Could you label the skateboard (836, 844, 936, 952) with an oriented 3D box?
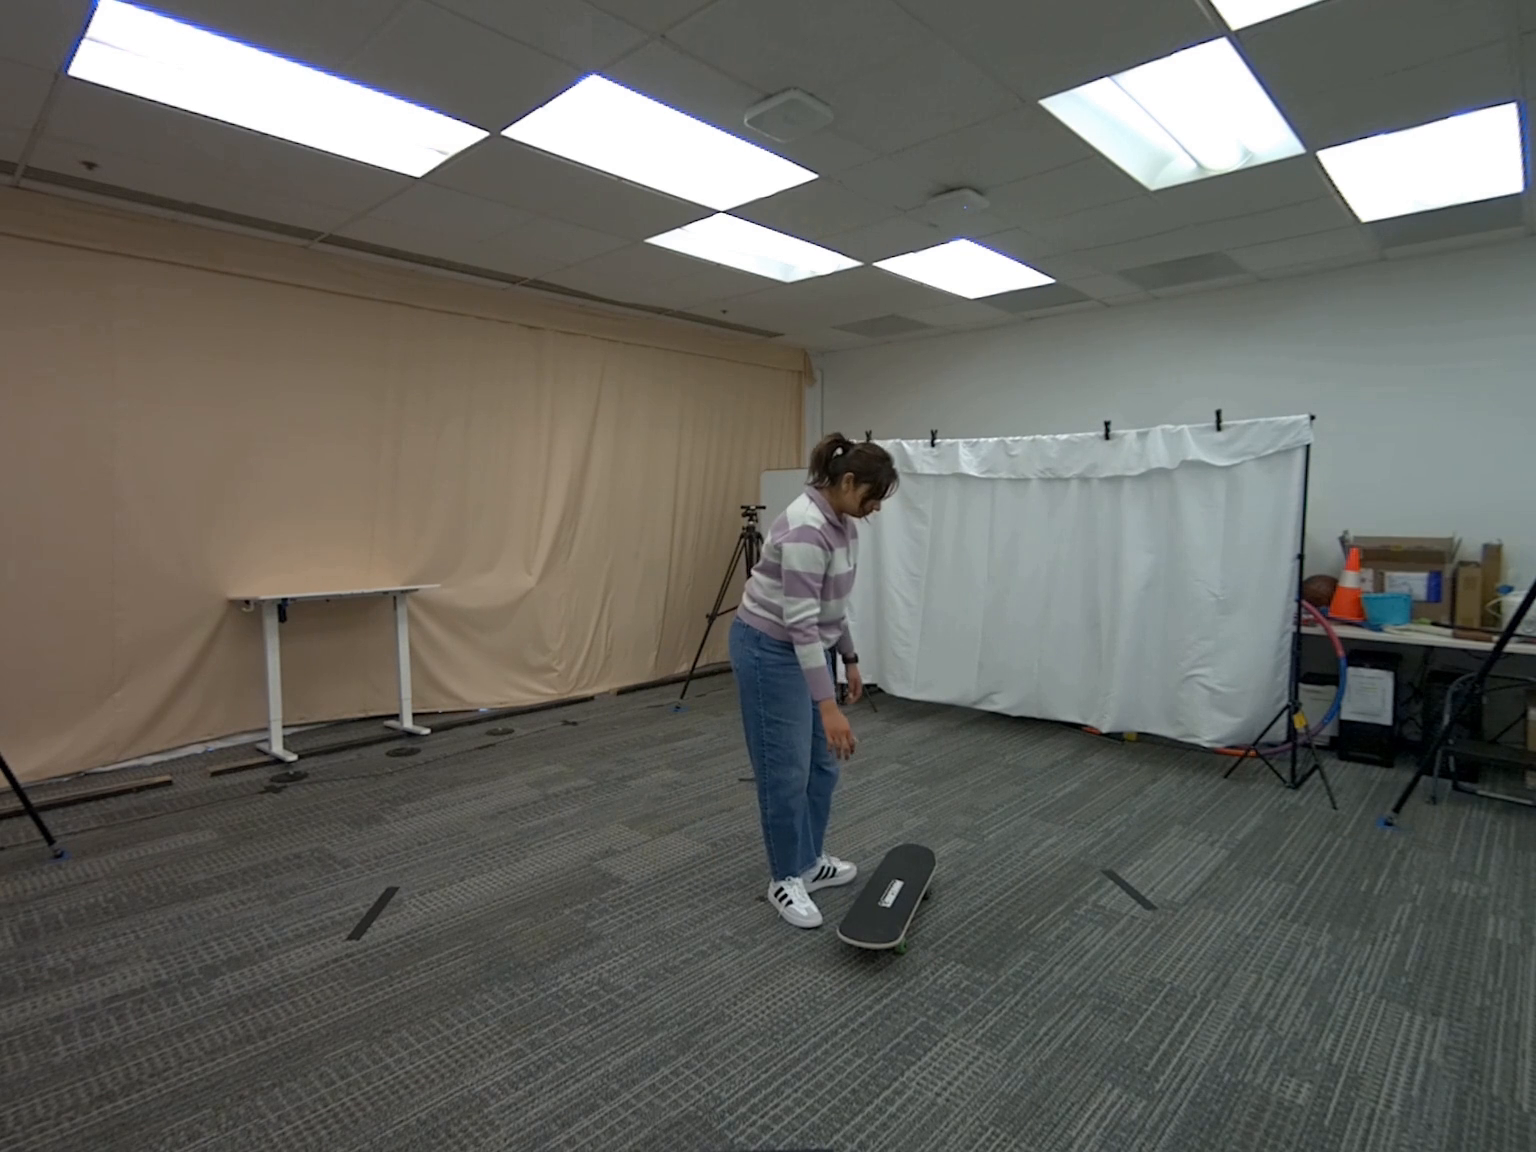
[{"bbox_3d":[0.422,1.097,2.831,0.198,0.110,0.769,0,5,22],"label":"skateboard"}]
